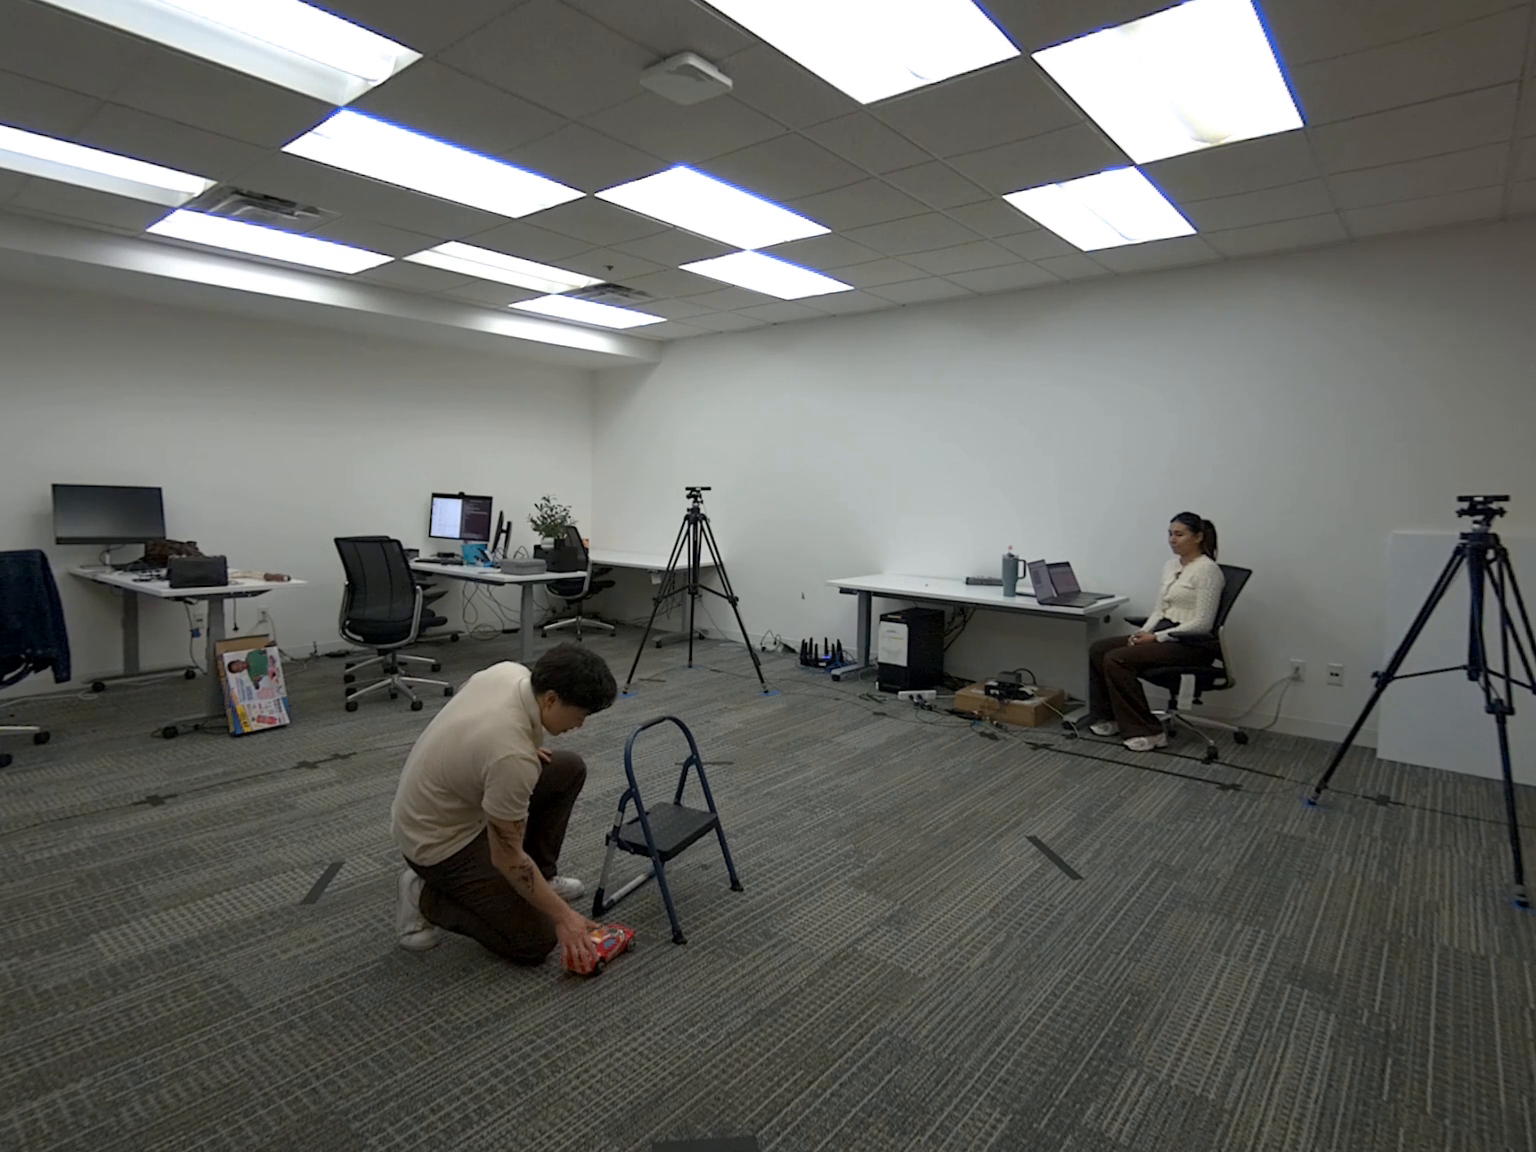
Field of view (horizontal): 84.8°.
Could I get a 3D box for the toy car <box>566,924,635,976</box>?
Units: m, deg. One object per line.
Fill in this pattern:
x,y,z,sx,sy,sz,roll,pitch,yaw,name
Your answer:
-0.509,1.098,2.484,0.134,0.083,0.246,6,-3,31,toy car
